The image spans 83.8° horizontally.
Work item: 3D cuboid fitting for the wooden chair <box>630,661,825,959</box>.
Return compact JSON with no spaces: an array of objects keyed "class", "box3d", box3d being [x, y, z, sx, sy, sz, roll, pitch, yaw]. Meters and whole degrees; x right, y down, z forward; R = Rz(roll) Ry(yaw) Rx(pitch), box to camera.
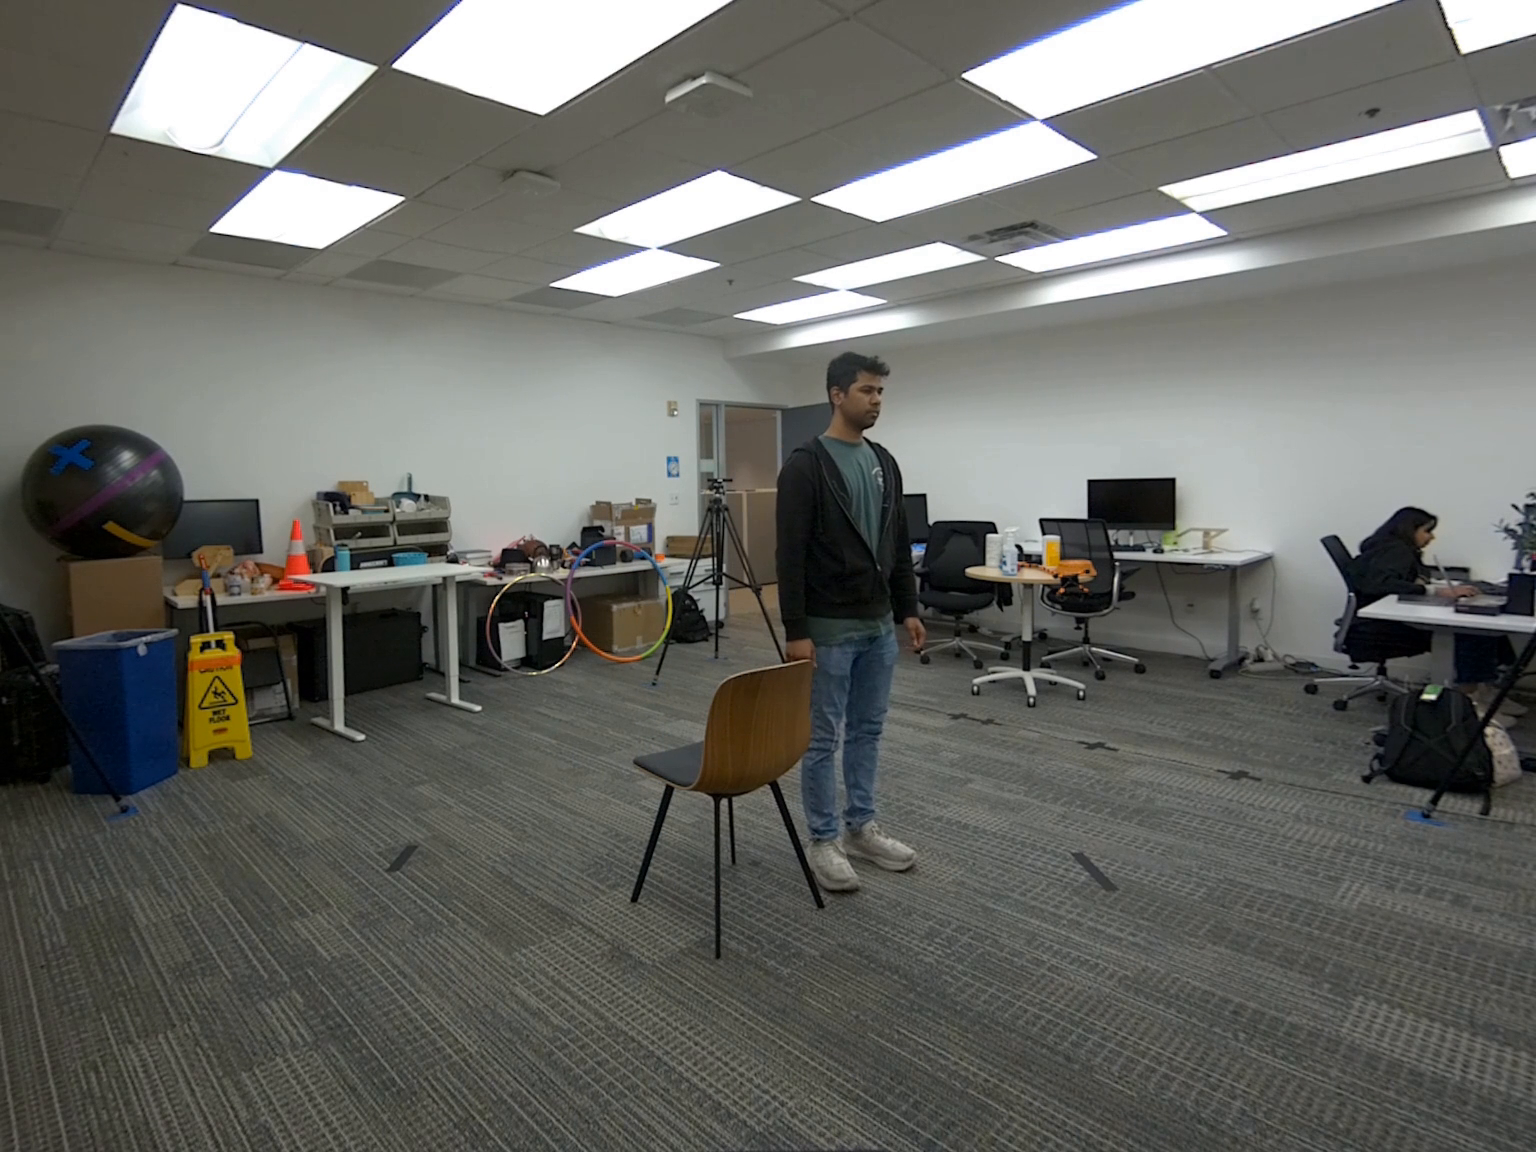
[{"class":"wooden chair","box3d":[-0.144,0.658,2.774,0.465,0.871,0.541,-5,11,-41]}]
